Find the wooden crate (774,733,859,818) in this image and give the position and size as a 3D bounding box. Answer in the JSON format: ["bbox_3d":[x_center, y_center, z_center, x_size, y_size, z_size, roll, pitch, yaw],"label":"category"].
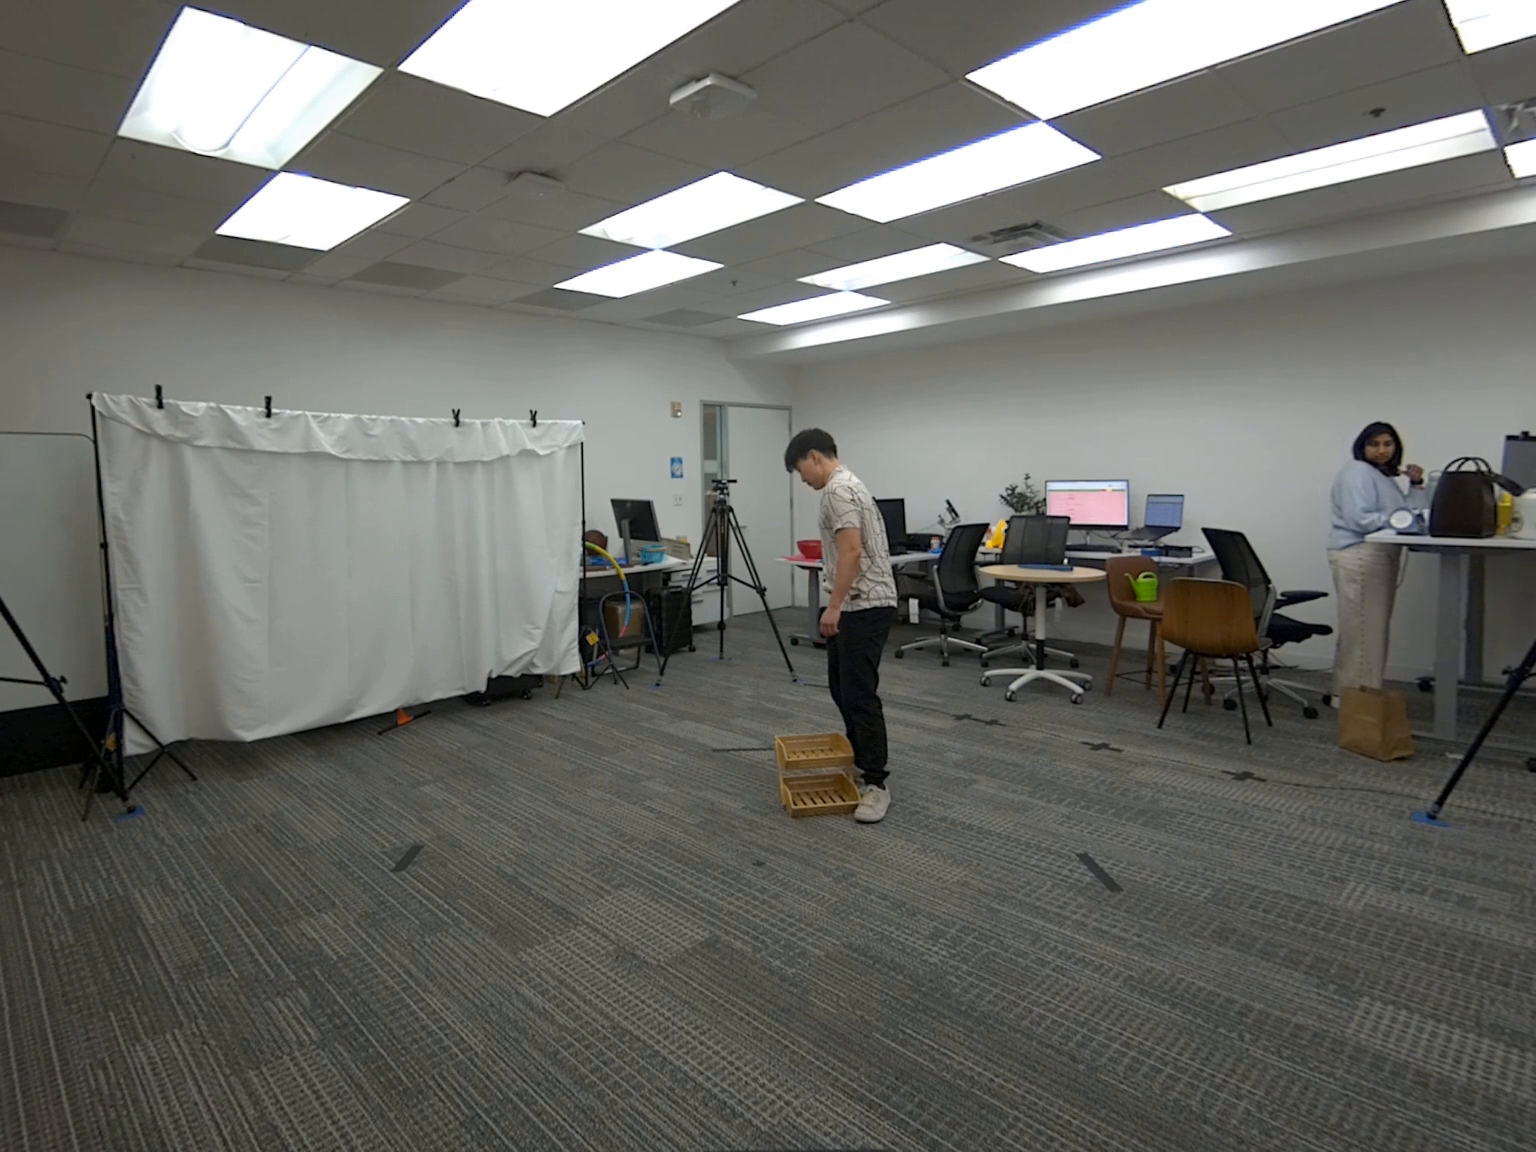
[{"bbox_3d":[0.213,0.848,3.677,0.321,0.272,0.307,-2,4,-13],"label":"wooden crate"}]
